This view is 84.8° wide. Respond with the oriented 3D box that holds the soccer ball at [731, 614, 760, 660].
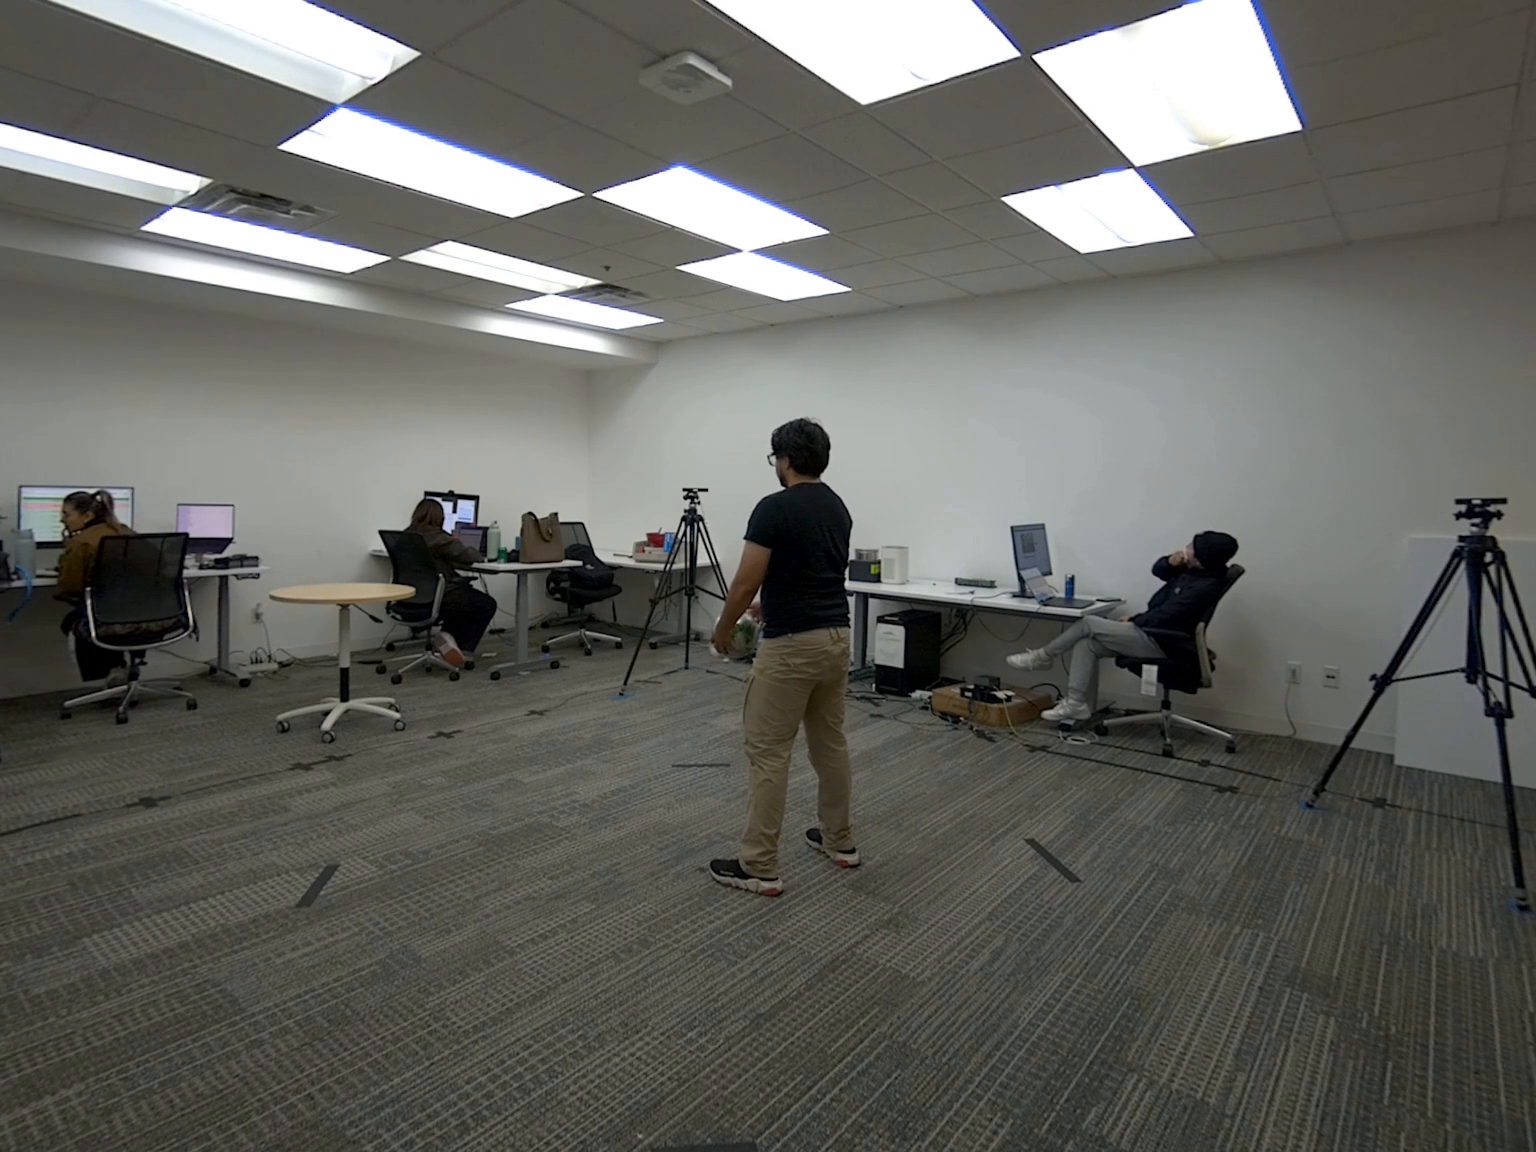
[{"bbox_3d":[-0.135,0.223,3.315,0.187,0.187,0.188,1,4,-2],"label":"soccer ball"}]
